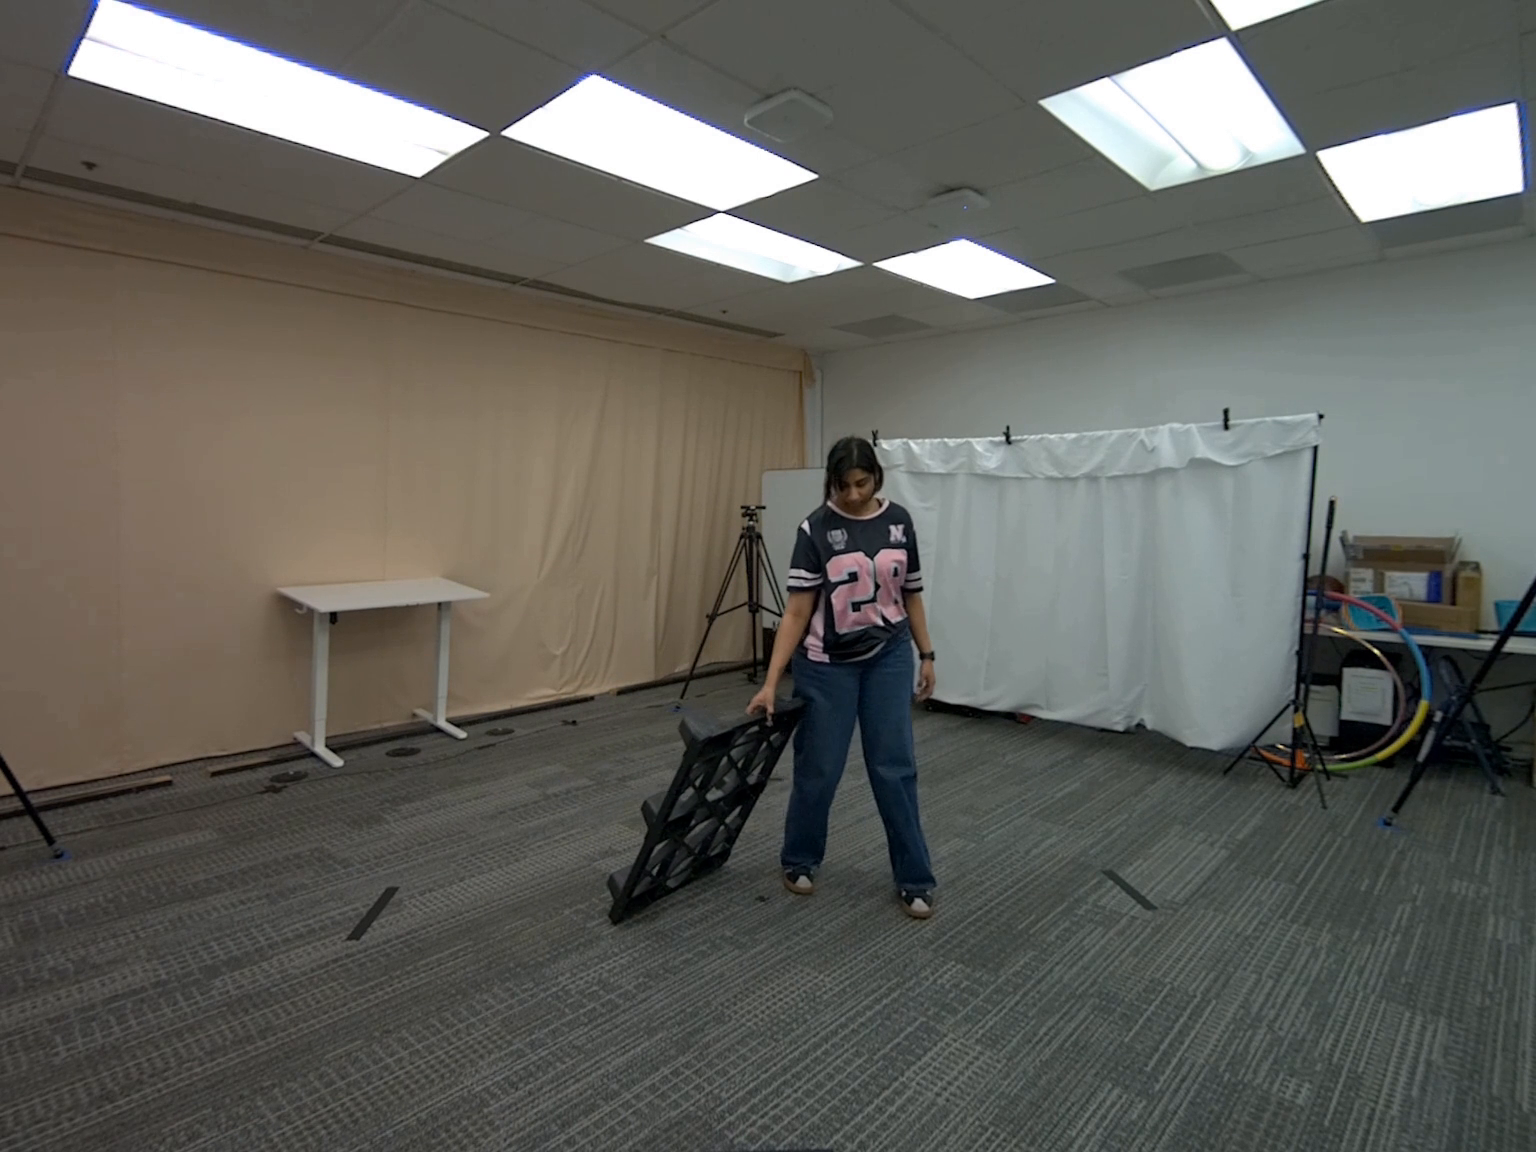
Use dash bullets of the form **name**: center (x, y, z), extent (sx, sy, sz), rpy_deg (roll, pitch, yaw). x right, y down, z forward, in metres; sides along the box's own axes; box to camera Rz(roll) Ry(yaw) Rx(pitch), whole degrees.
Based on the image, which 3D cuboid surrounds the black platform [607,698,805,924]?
- **black platform**: center (-0.233, 0.779, 2.908), extent (0.148, 0.803, 0.587), rpy_deg (37, 24, 29)
